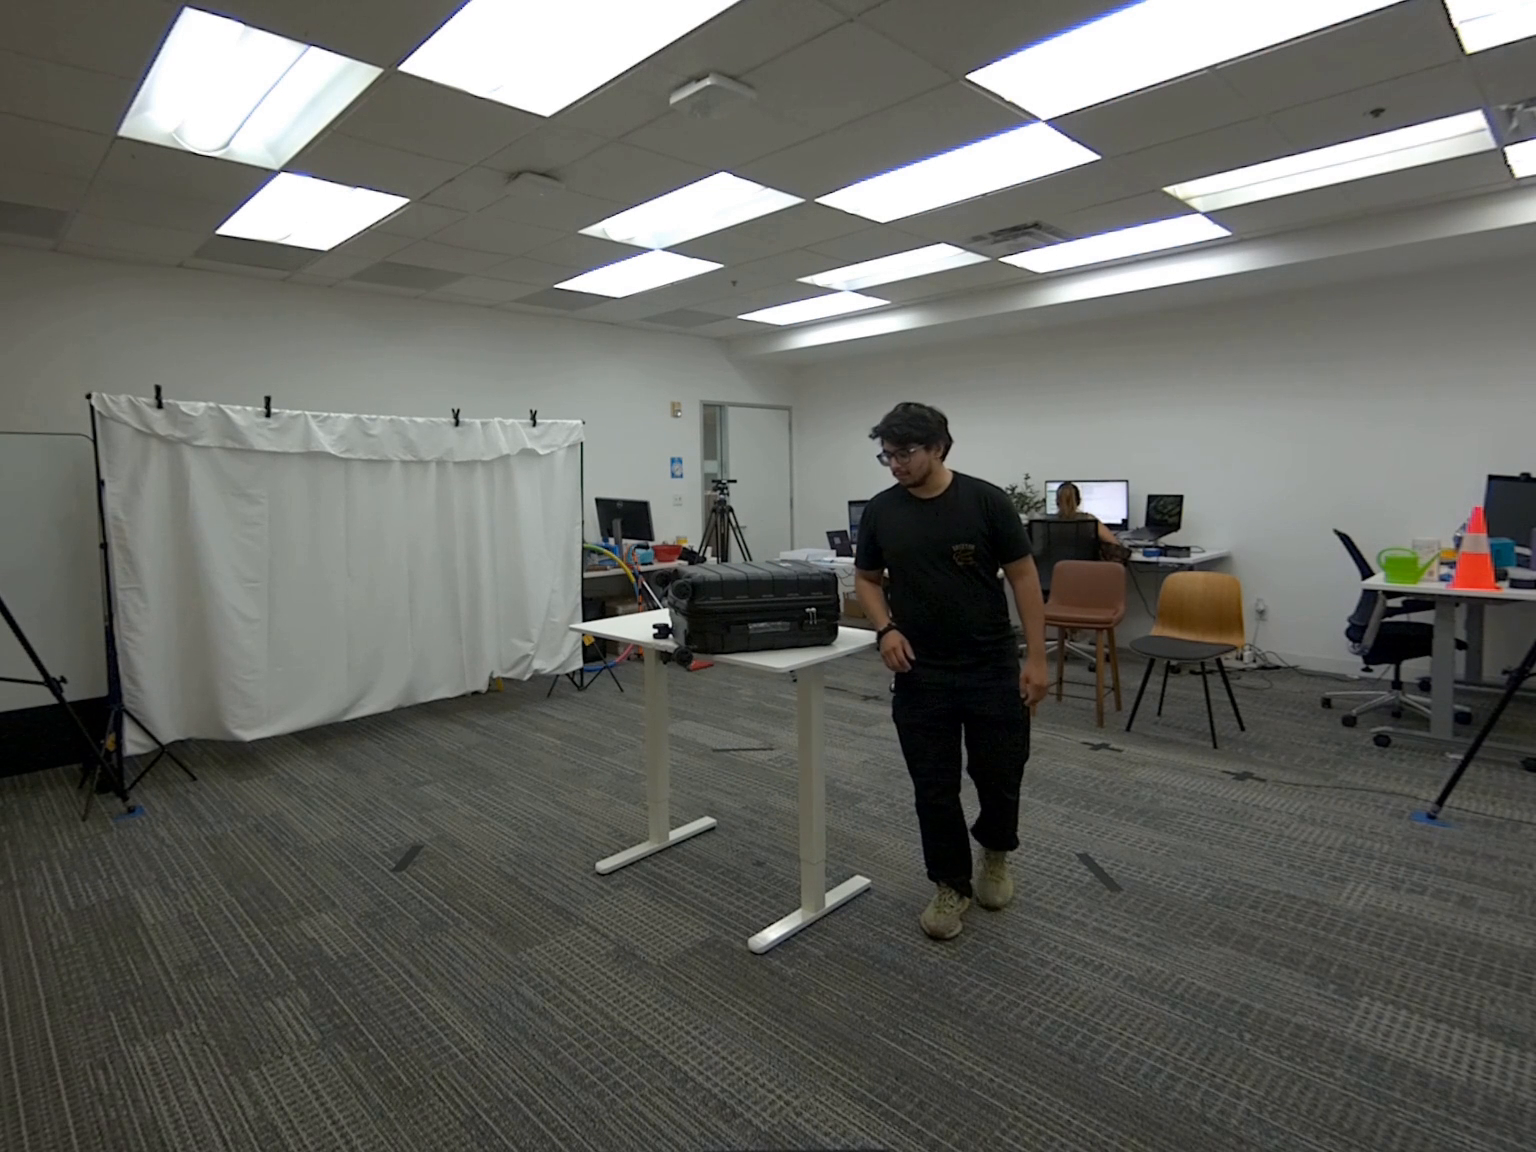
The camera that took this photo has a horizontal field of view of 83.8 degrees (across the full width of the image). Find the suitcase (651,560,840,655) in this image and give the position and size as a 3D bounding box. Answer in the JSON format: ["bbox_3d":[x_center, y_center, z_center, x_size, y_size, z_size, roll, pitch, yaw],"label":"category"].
[{"bbox_3d":[-0.056,0.093,2.720,0.542,0.247,0.382,-3,6,-16],"label":"suitcase"}]
